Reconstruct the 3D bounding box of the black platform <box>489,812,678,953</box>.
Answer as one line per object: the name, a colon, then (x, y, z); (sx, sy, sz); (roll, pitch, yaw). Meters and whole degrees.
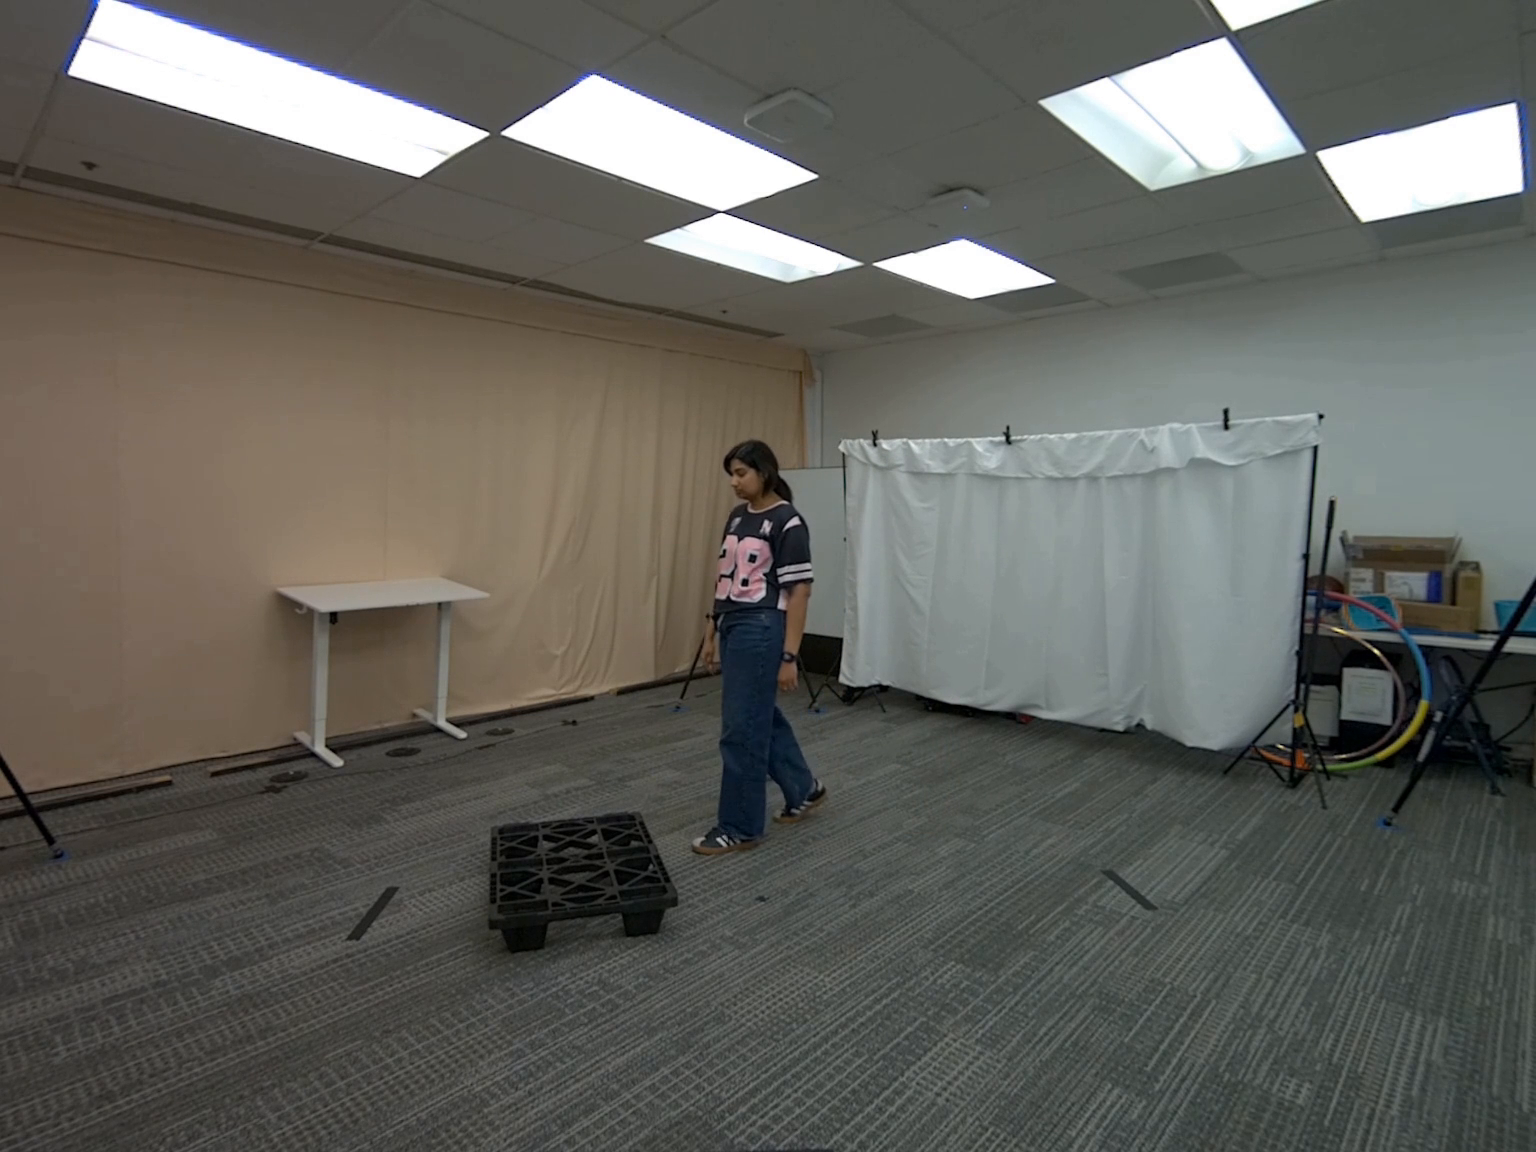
black platform: (-0.692, 1.079, 3.038); (0.595, 0.143, 0.821); (-1, 5, -17)
